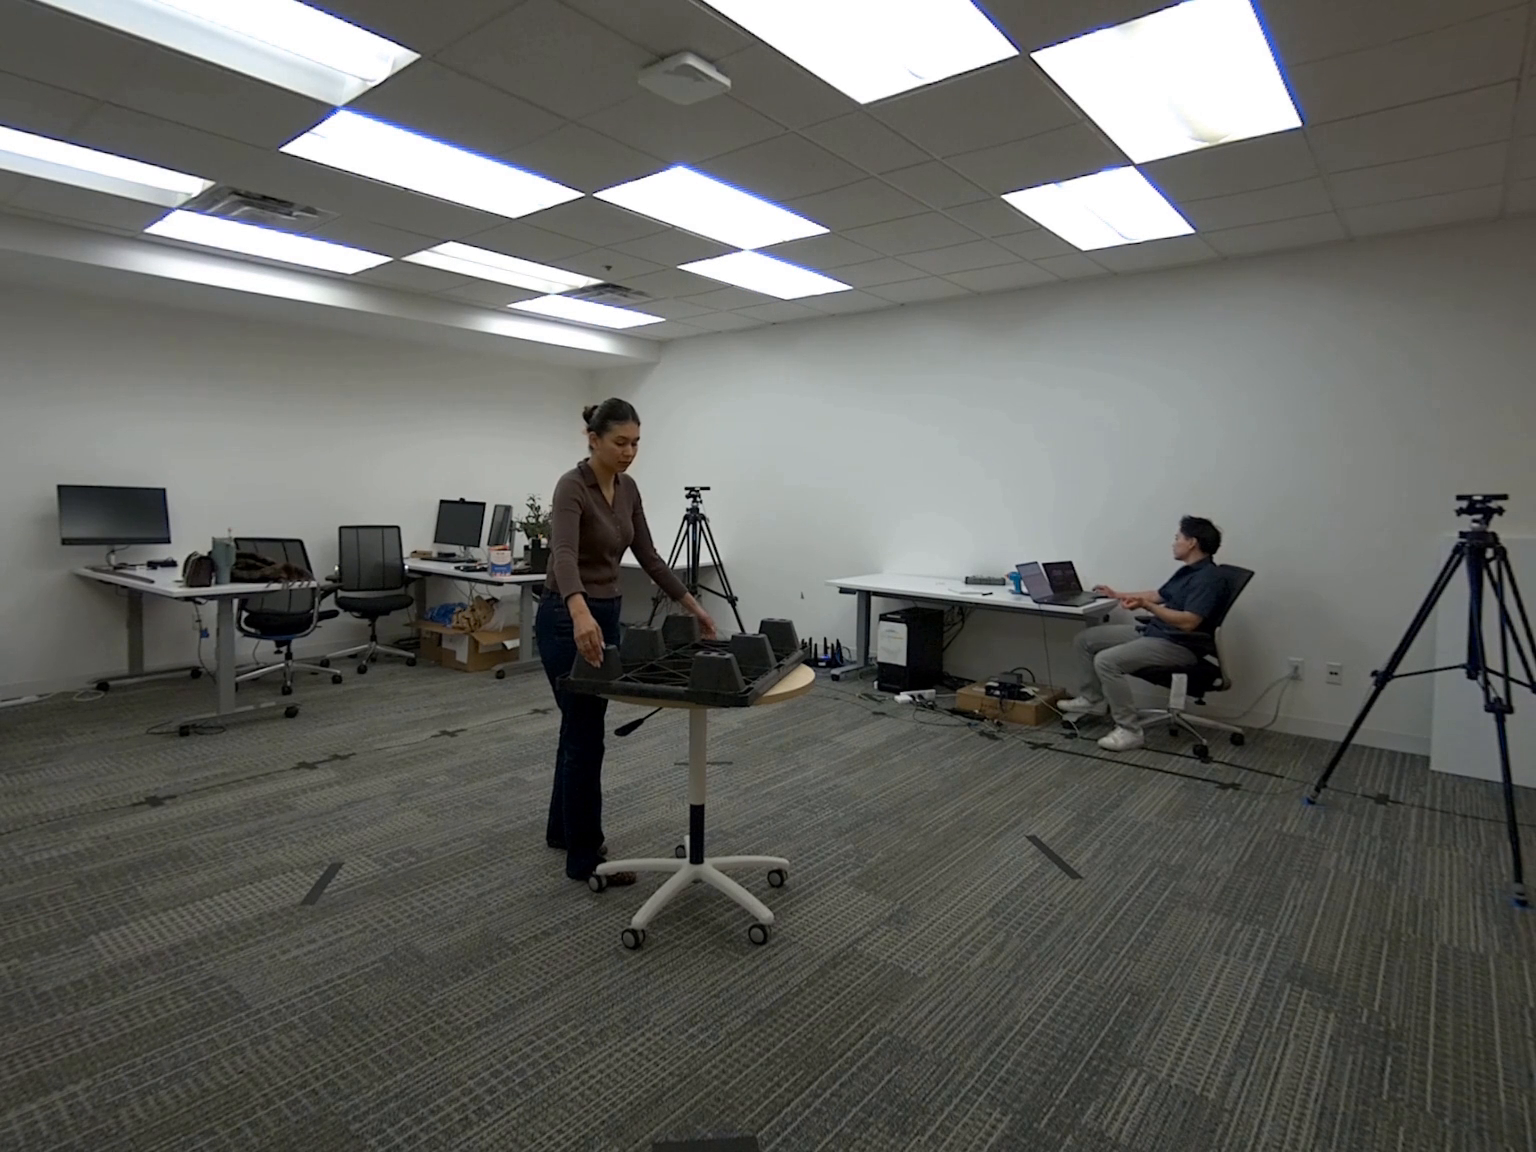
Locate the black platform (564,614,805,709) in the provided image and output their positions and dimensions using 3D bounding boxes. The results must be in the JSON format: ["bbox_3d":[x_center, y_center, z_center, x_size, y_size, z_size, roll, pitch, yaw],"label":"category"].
[{"bbox_3d":[-0.256,0.249,2.805,0.617,0.143,0.793,2,6,17],"label":"black platform"}]
